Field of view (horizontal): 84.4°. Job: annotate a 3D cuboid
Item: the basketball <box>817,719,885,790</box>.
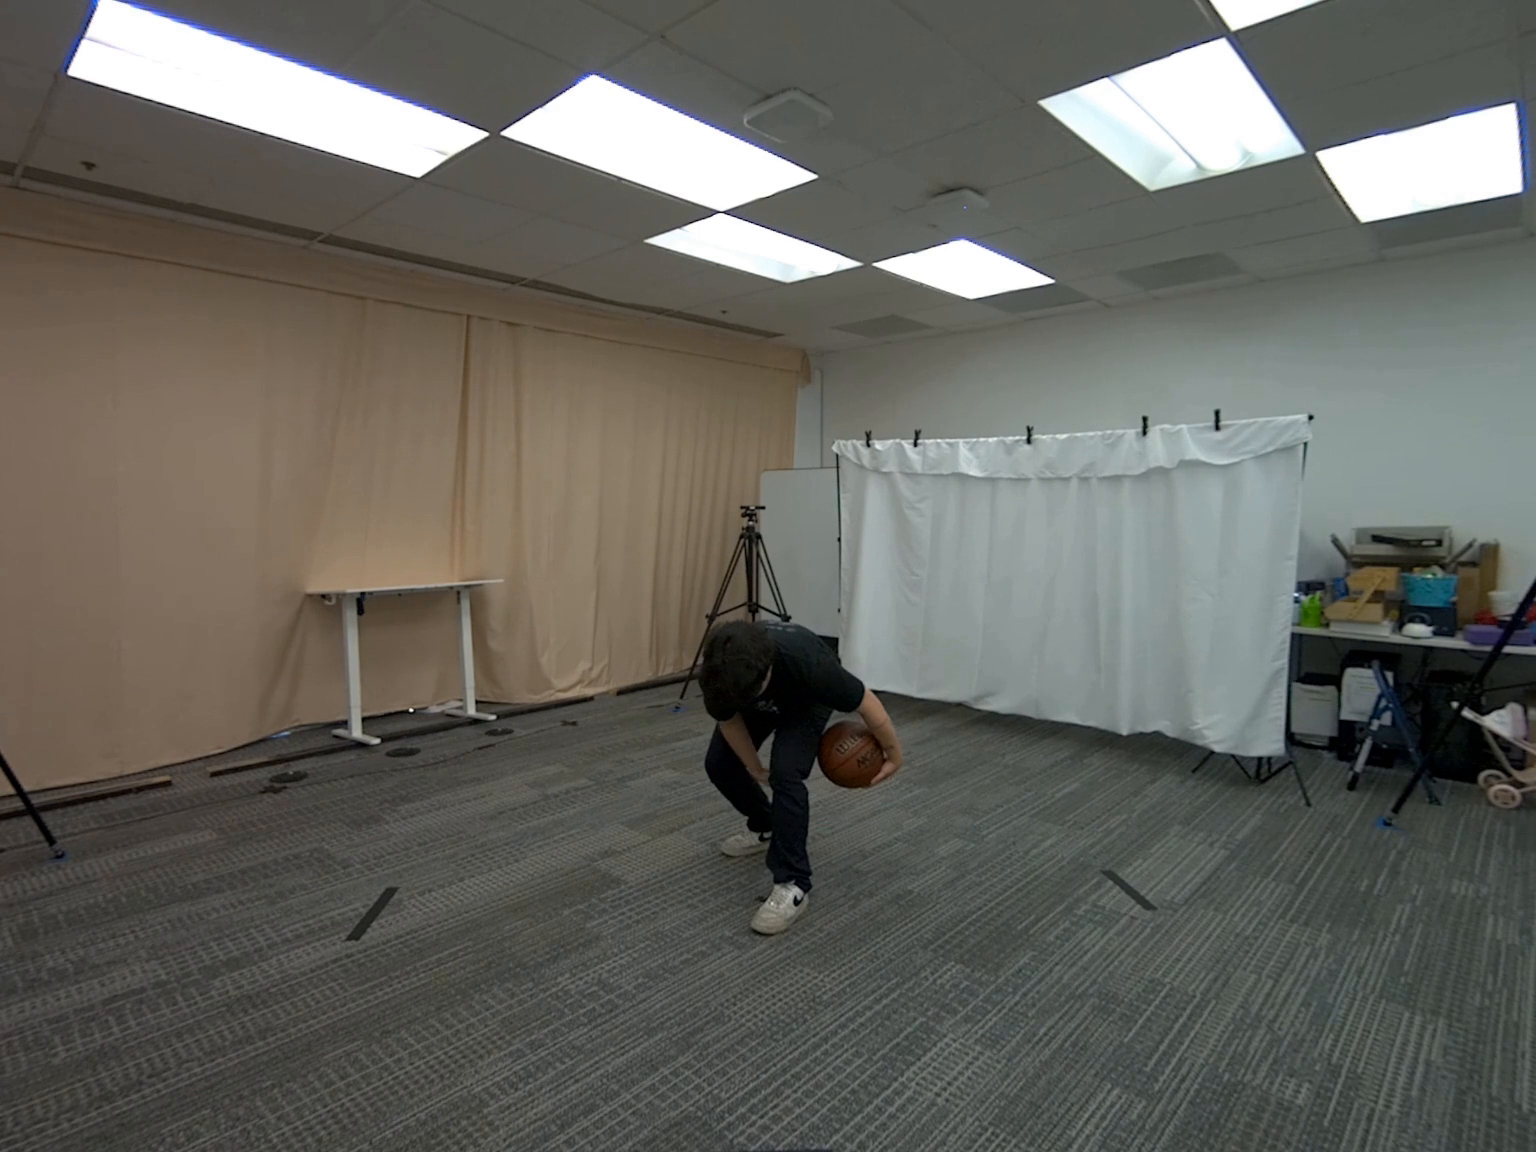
[{"bbox_3d":[0.299,0.644,3.027,0.236,0.235,0.237,0,4,-2],"label":"basketball"}]
